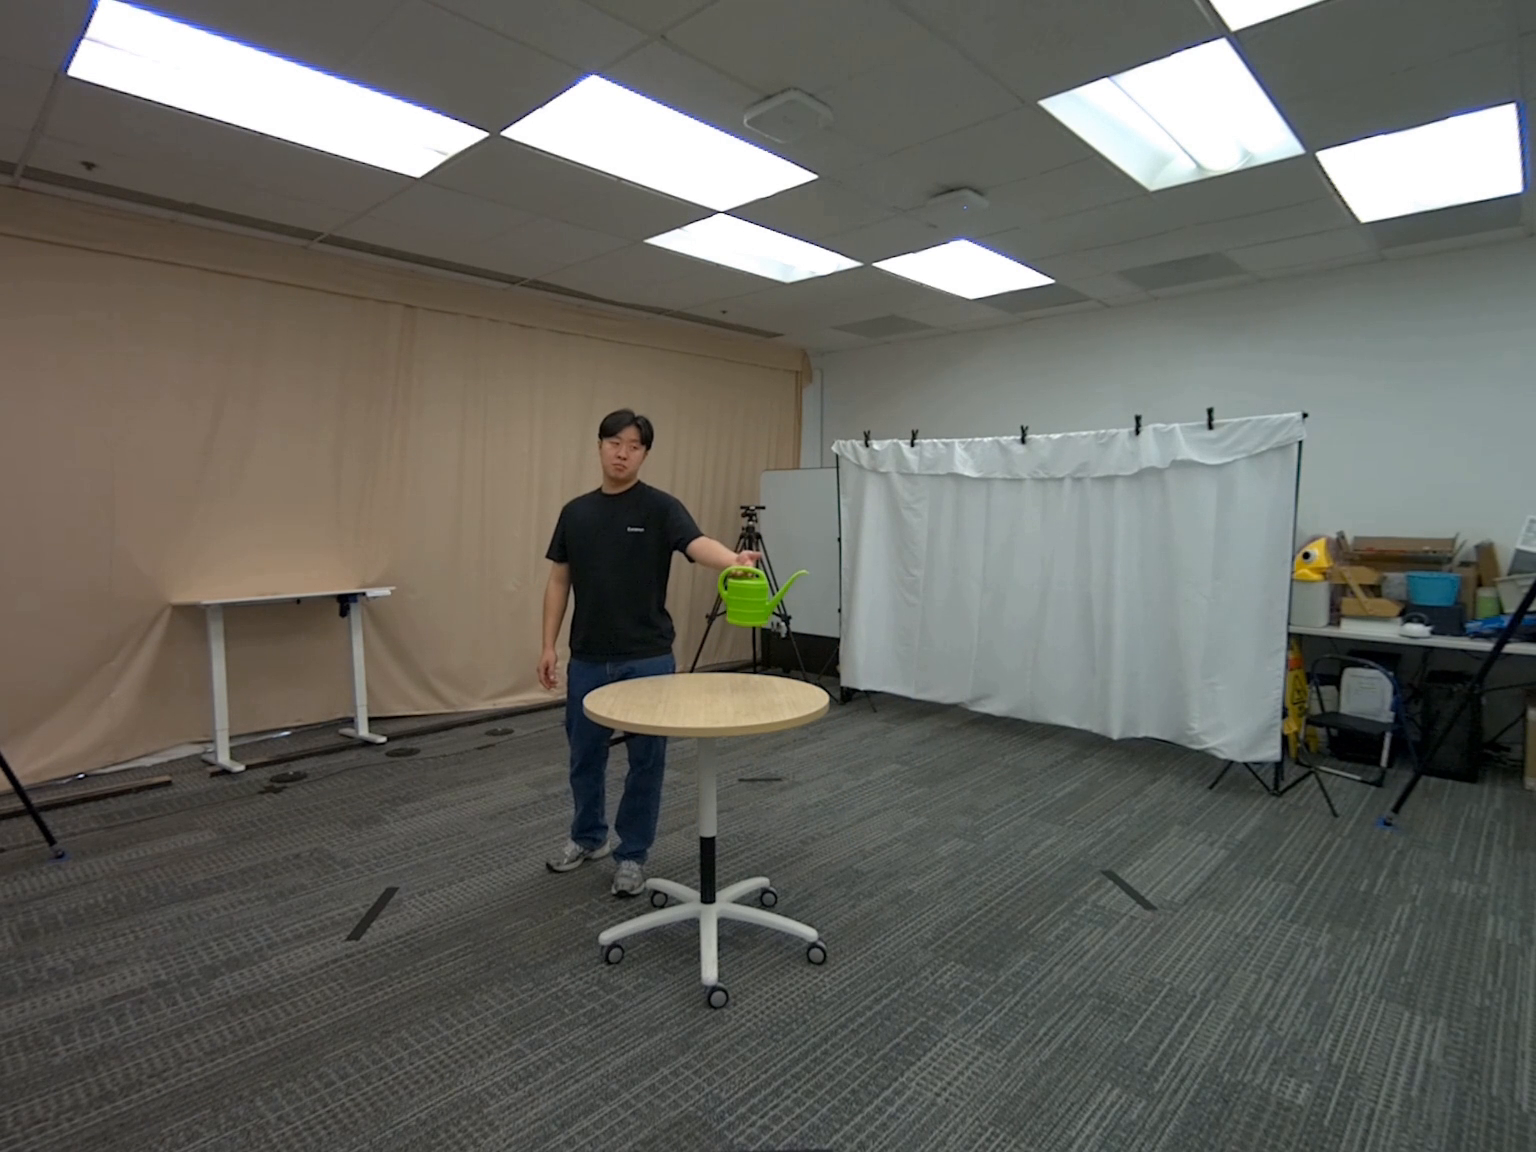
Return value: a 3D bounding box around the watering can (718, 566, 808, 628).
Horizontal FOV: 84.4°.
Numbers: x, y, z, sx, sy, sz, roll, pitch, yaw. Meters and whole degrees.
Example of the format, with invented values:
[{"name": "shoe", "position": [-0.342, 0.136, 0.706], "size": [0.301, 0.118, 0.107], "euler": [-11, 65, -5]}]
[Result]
[{"name": "watering can", "position": [-0.013, 0.063, 2.558], "size": [0.285, 0.176, 0.096], "euler": [5, 10, 24]}]
